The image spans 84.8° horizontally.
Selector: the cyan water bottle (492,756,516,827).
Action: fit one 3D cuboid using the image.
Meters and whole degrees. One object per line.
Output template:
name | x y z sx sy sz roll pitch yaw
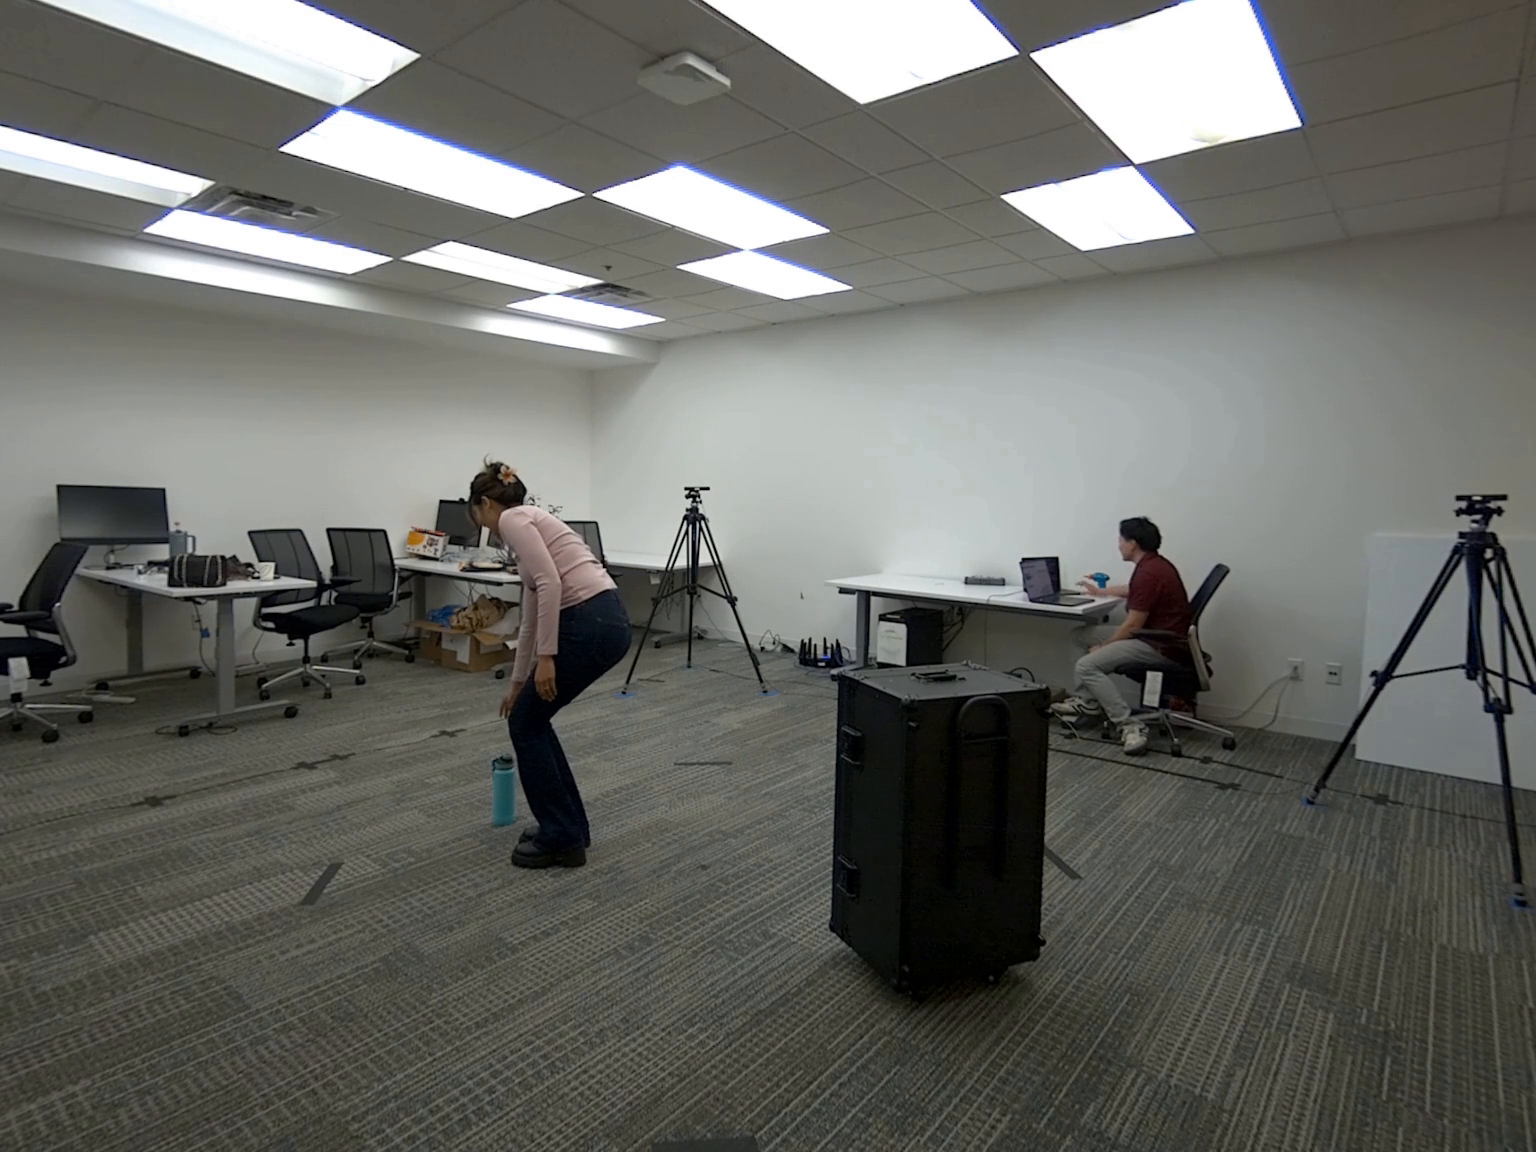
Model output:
cyan water bottle | -1.110 0.874 3.510 0.092 0.282 0.093 -1 4 -2
